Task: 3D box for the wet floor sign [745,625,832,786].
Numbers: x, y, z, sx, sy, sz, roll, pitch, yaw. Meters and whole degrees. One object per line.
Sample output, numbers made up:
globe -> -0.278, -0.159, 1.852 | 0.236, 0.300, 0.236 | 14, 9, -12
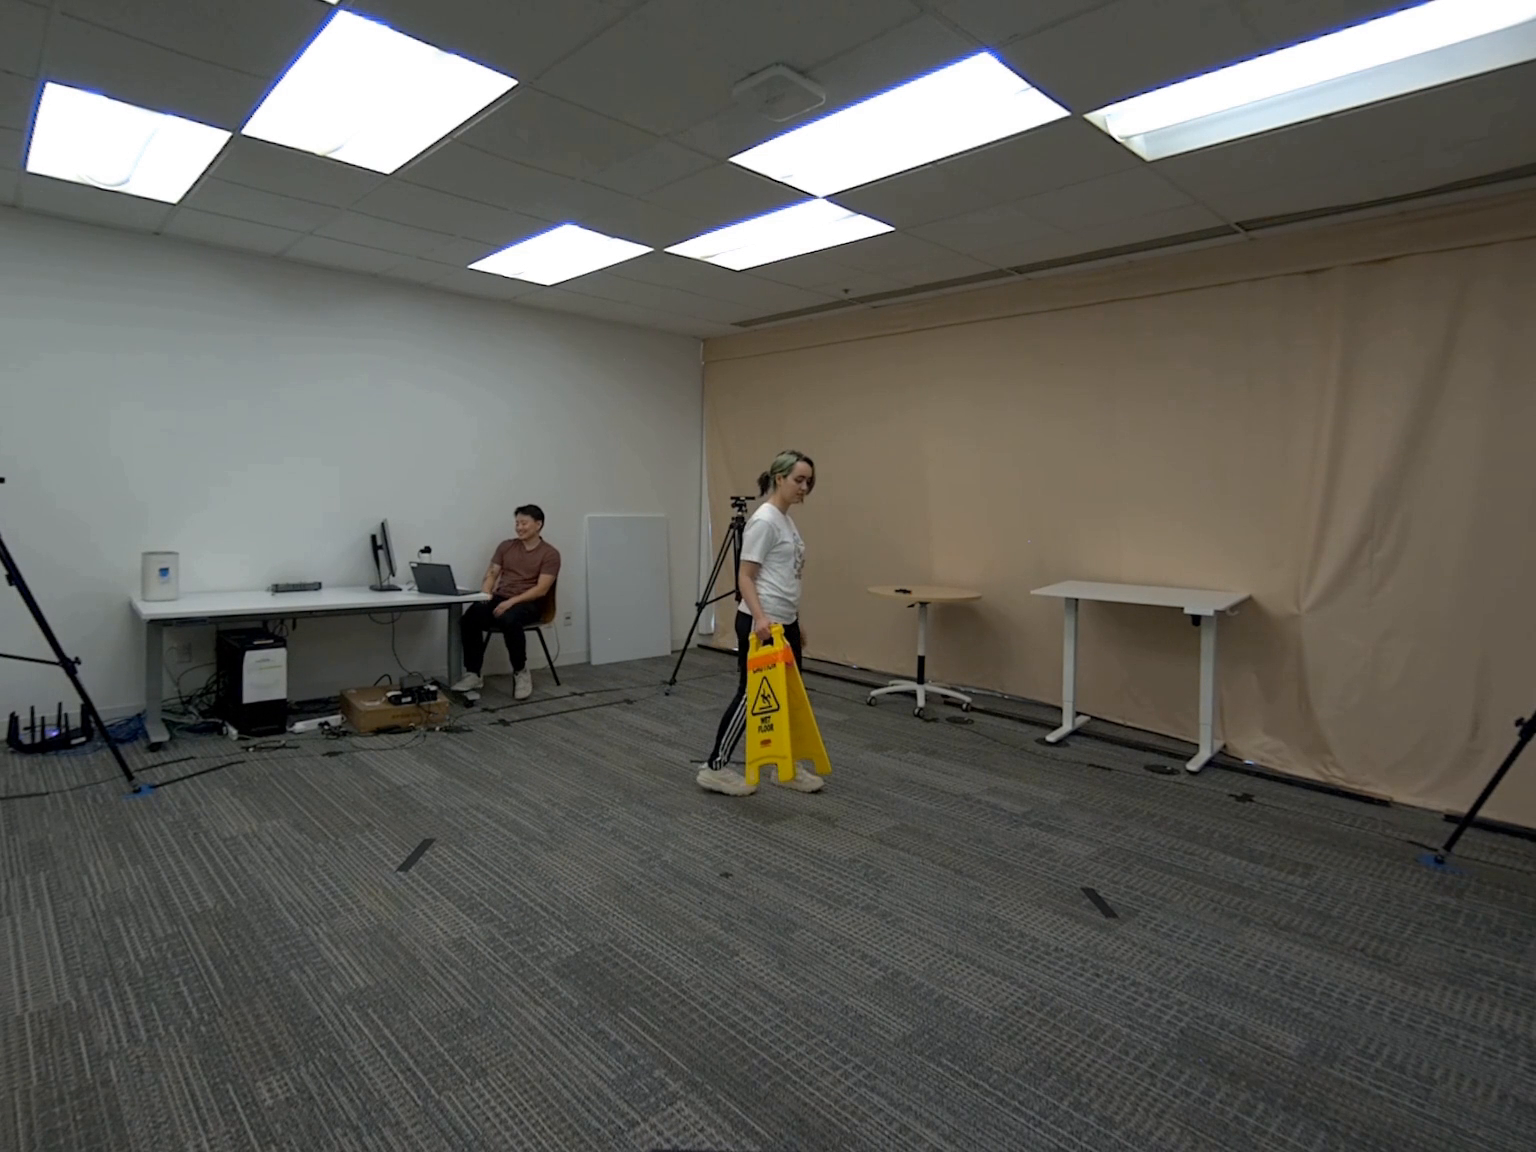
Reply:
wet floor sign -> 0.028, 0.545, 3.635 | 0.282, 0.654, 0.286 | 4, -19, -43
